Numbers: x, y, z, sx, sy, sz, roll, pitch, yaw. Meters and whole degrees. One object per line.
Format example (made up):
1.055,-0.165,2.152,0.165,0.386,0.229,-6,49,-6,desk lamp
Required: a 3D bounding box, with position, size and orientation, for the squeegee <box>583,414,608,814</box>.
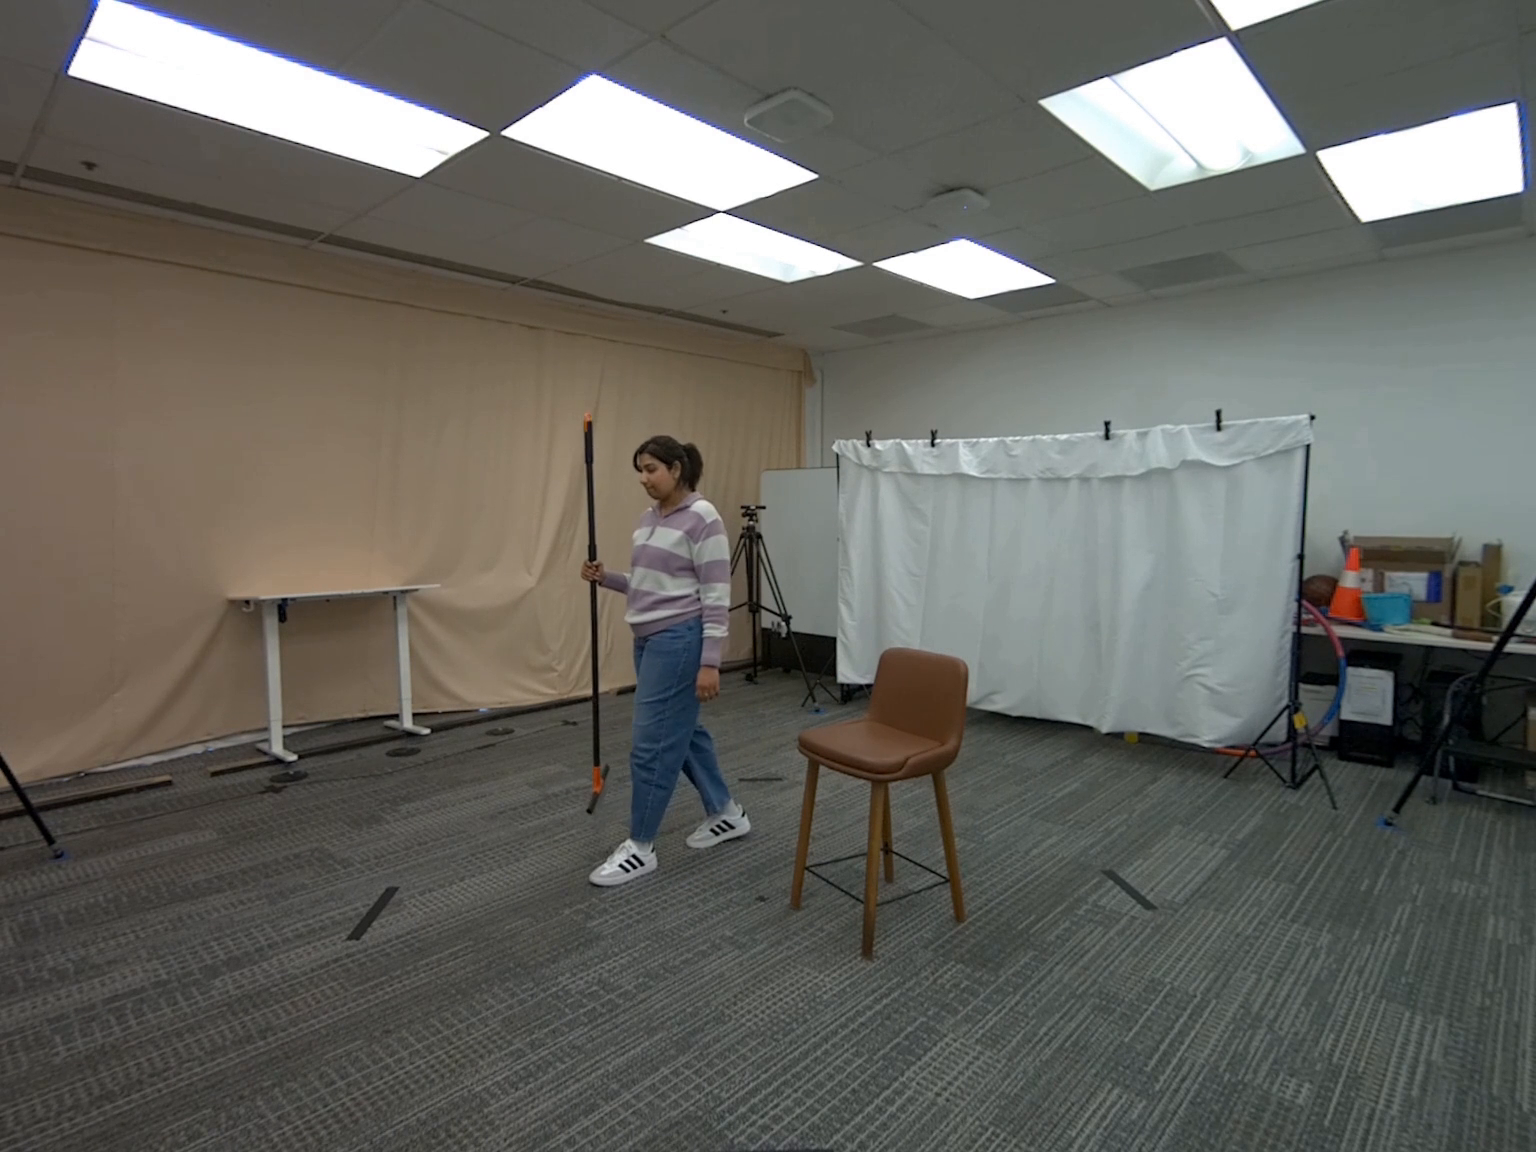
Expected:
-0.697,0.153,3.356,0.053,1.530,0.435,2,7,7,squeegee
